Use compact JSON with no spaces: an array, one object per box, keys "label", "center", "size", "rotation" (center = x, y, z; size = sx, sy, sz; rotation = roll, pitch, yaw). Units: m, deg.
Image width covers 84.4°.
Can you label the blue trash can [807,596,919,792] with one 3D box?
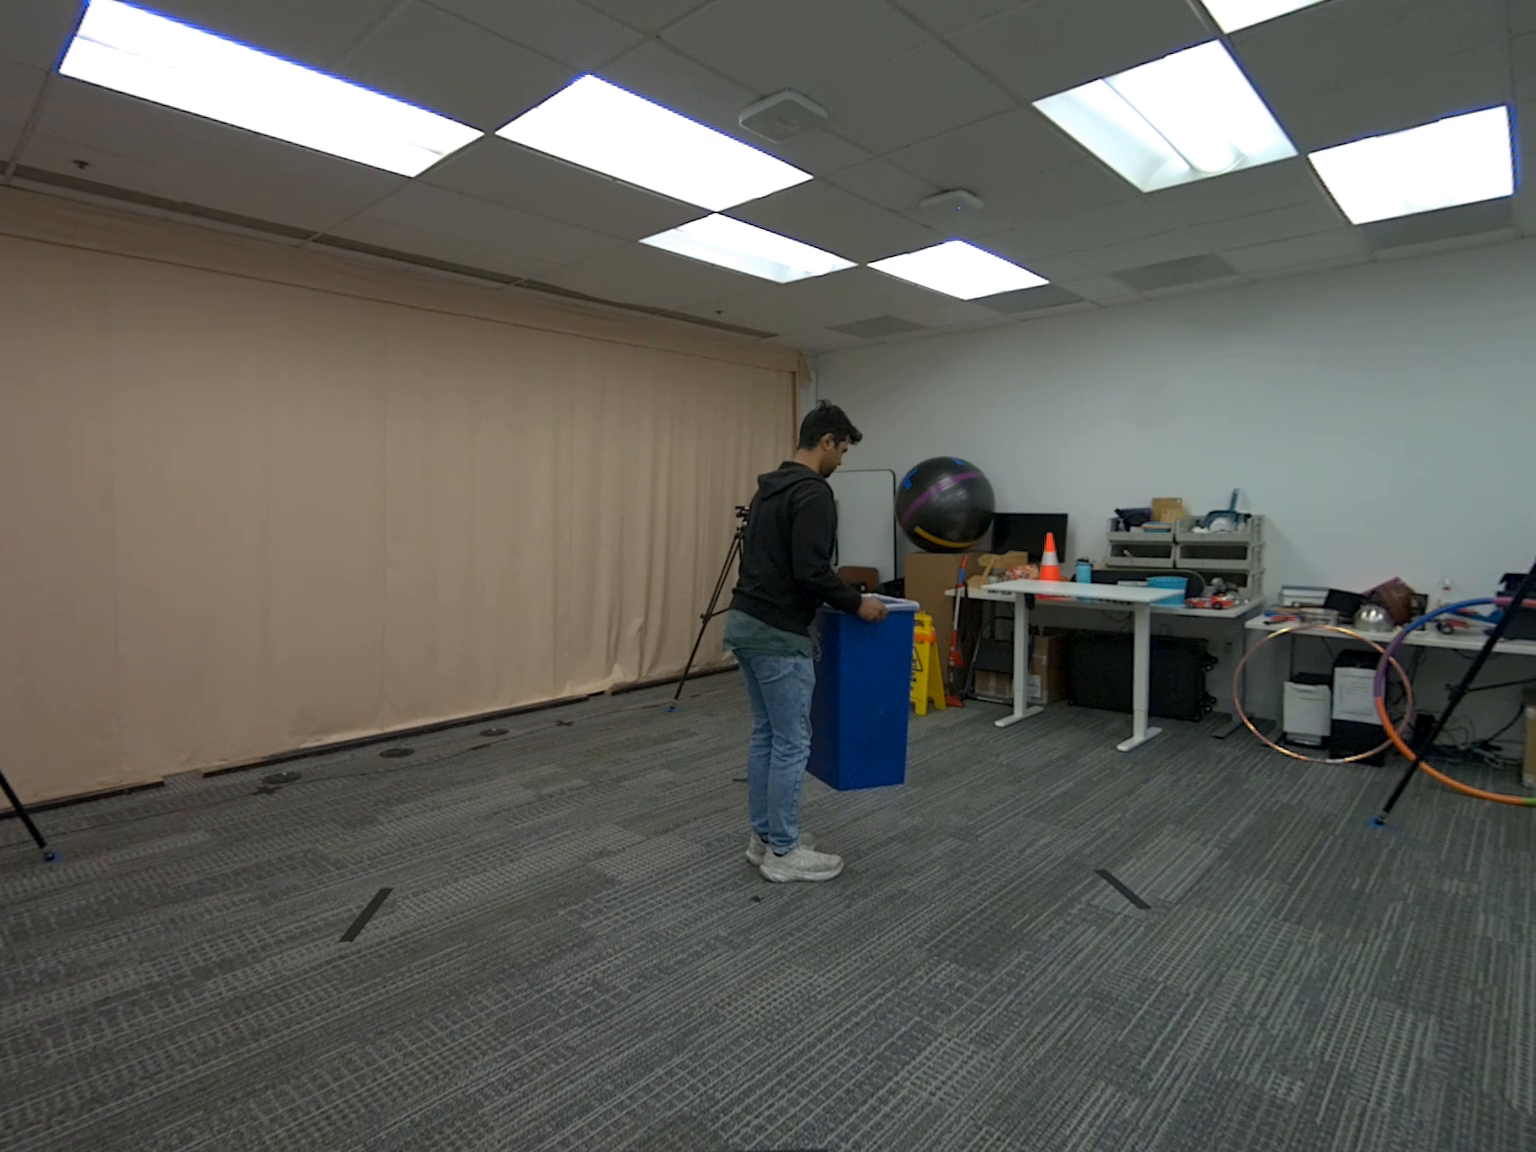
[{"label":"blue trash can","center":[0.366,0.460,3.371],"size":[0.370,0.712,0.383],"rotation":[-1,3,-23]}]
